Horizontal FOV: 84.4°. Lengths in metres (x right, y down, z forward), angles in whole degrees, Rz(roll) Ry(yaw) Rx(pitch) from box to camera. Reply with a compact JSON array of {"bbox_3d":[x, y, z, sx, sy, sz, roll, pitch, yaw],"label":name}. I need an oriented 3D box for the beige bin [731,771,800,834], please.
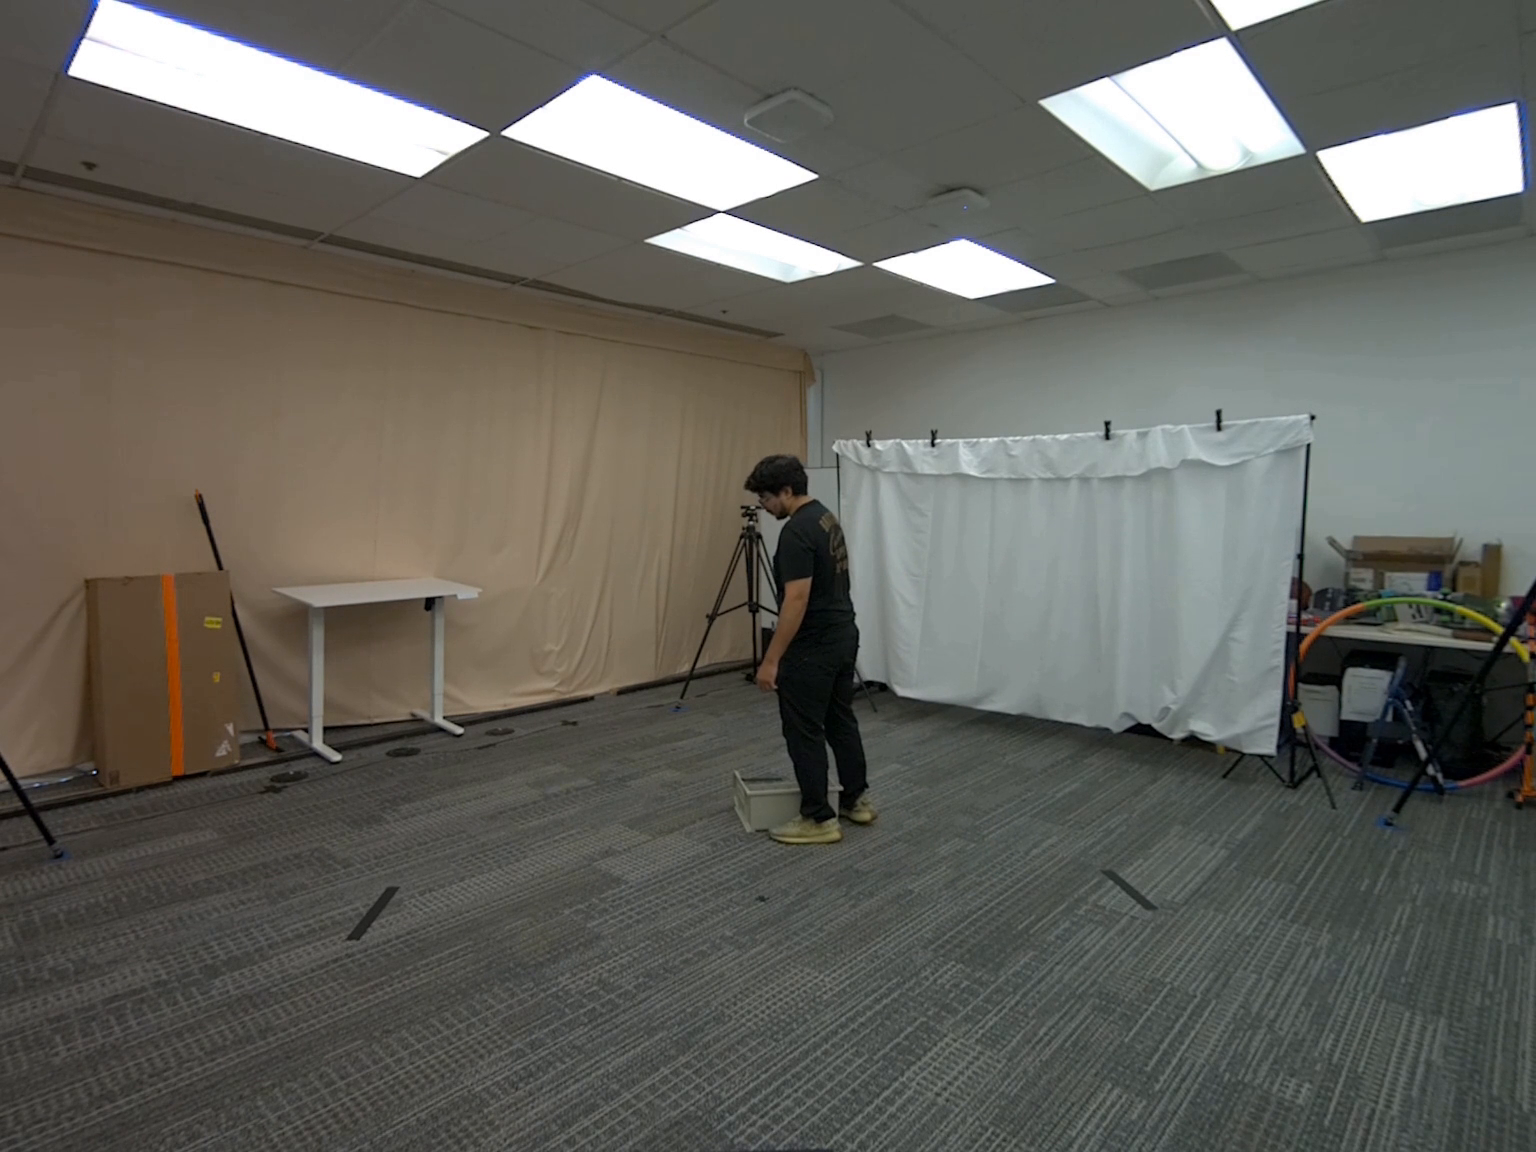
[{"bbox_3d":[0.074,0.986,3.780,0.418,0.188,0.383,0,5,-11],"label":"beige bin"}]
